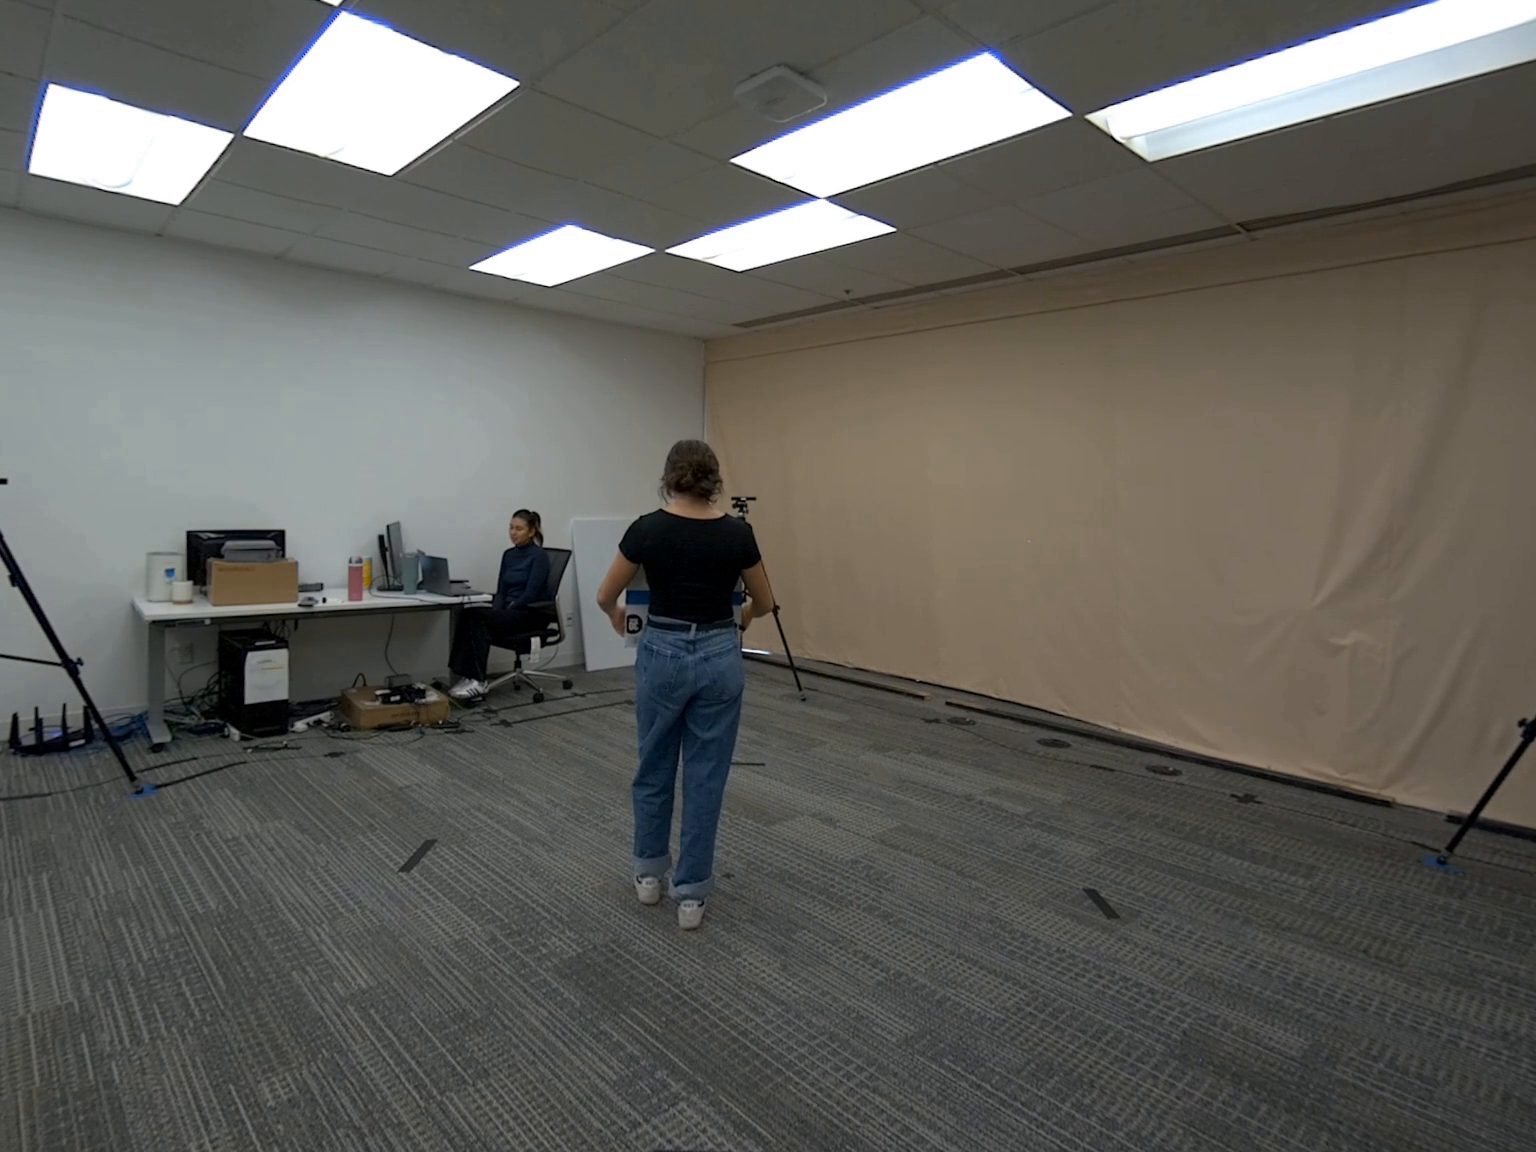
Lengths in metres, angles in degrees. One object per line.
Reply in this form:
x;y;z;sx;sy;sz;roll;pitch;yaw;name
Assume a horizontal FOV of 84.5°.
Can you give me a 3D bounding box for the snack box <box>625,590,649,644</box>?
-0.304;0.066;2.984;0.403;0.338;0.208;1;9;-8;snack box
